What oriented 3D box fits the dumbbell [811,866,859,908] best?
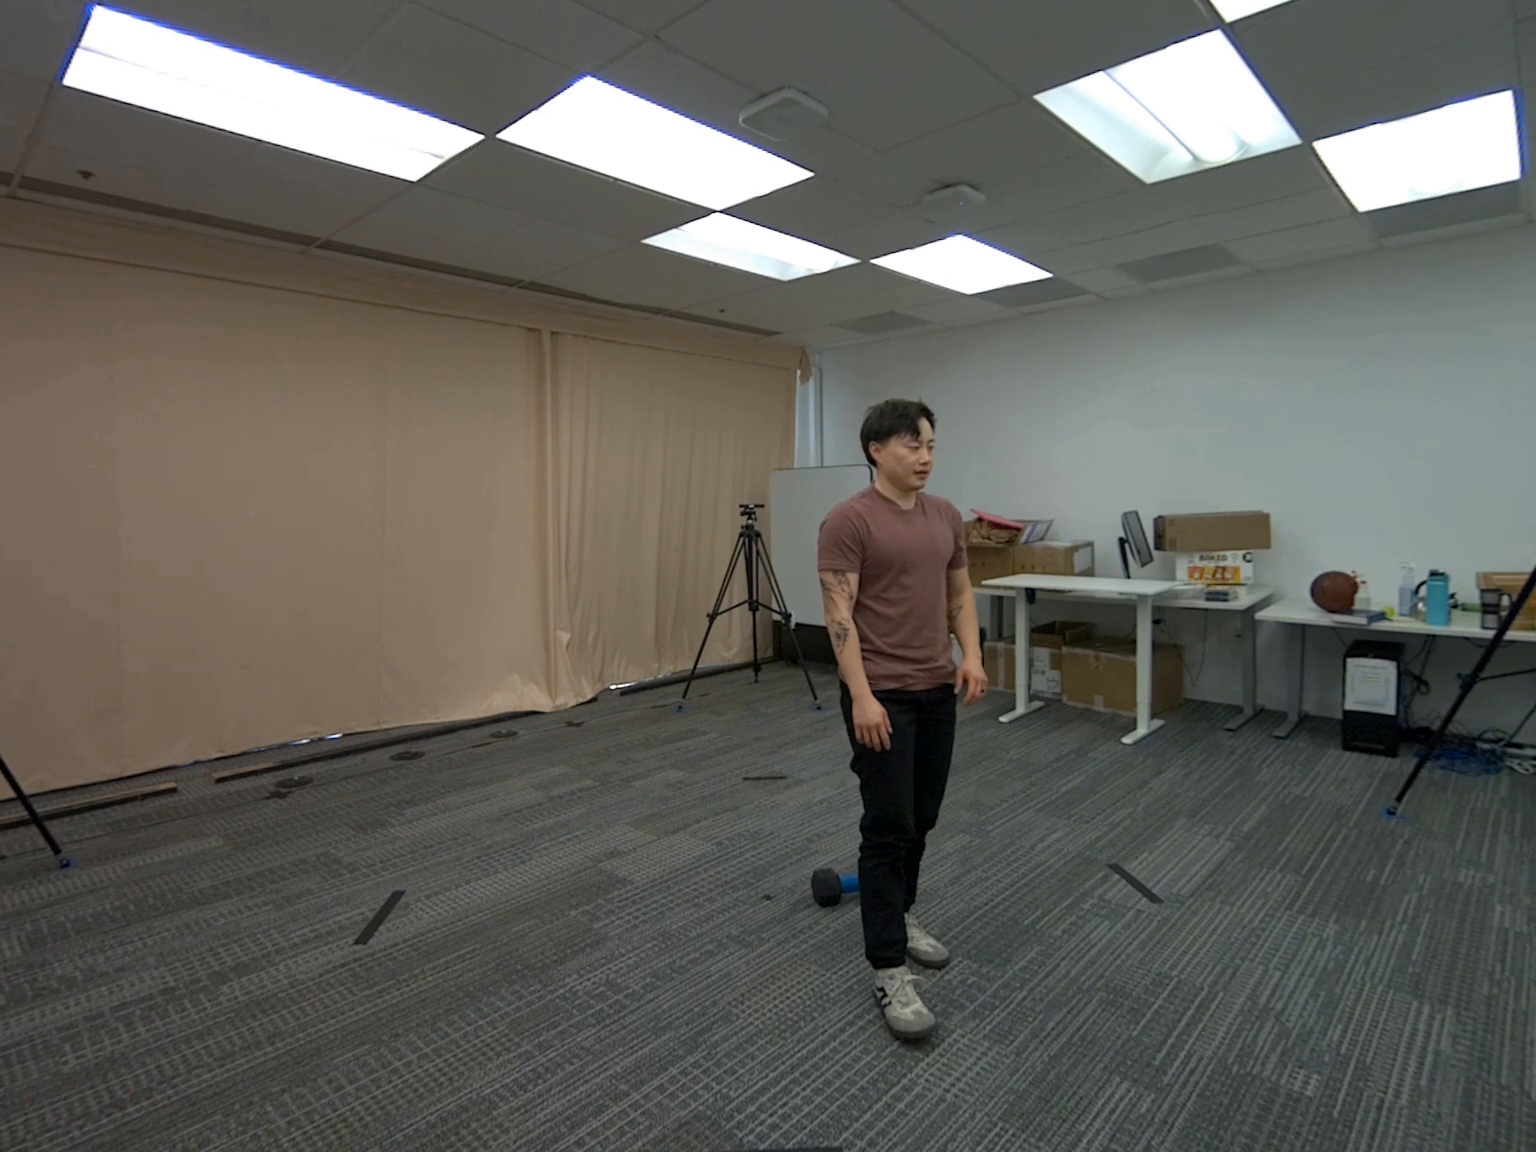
[{"bbox_3d":[0.308,1.082,2.961,0.289,0.108,0.125,-2,5,-15],"label":"dumbbell"}]
